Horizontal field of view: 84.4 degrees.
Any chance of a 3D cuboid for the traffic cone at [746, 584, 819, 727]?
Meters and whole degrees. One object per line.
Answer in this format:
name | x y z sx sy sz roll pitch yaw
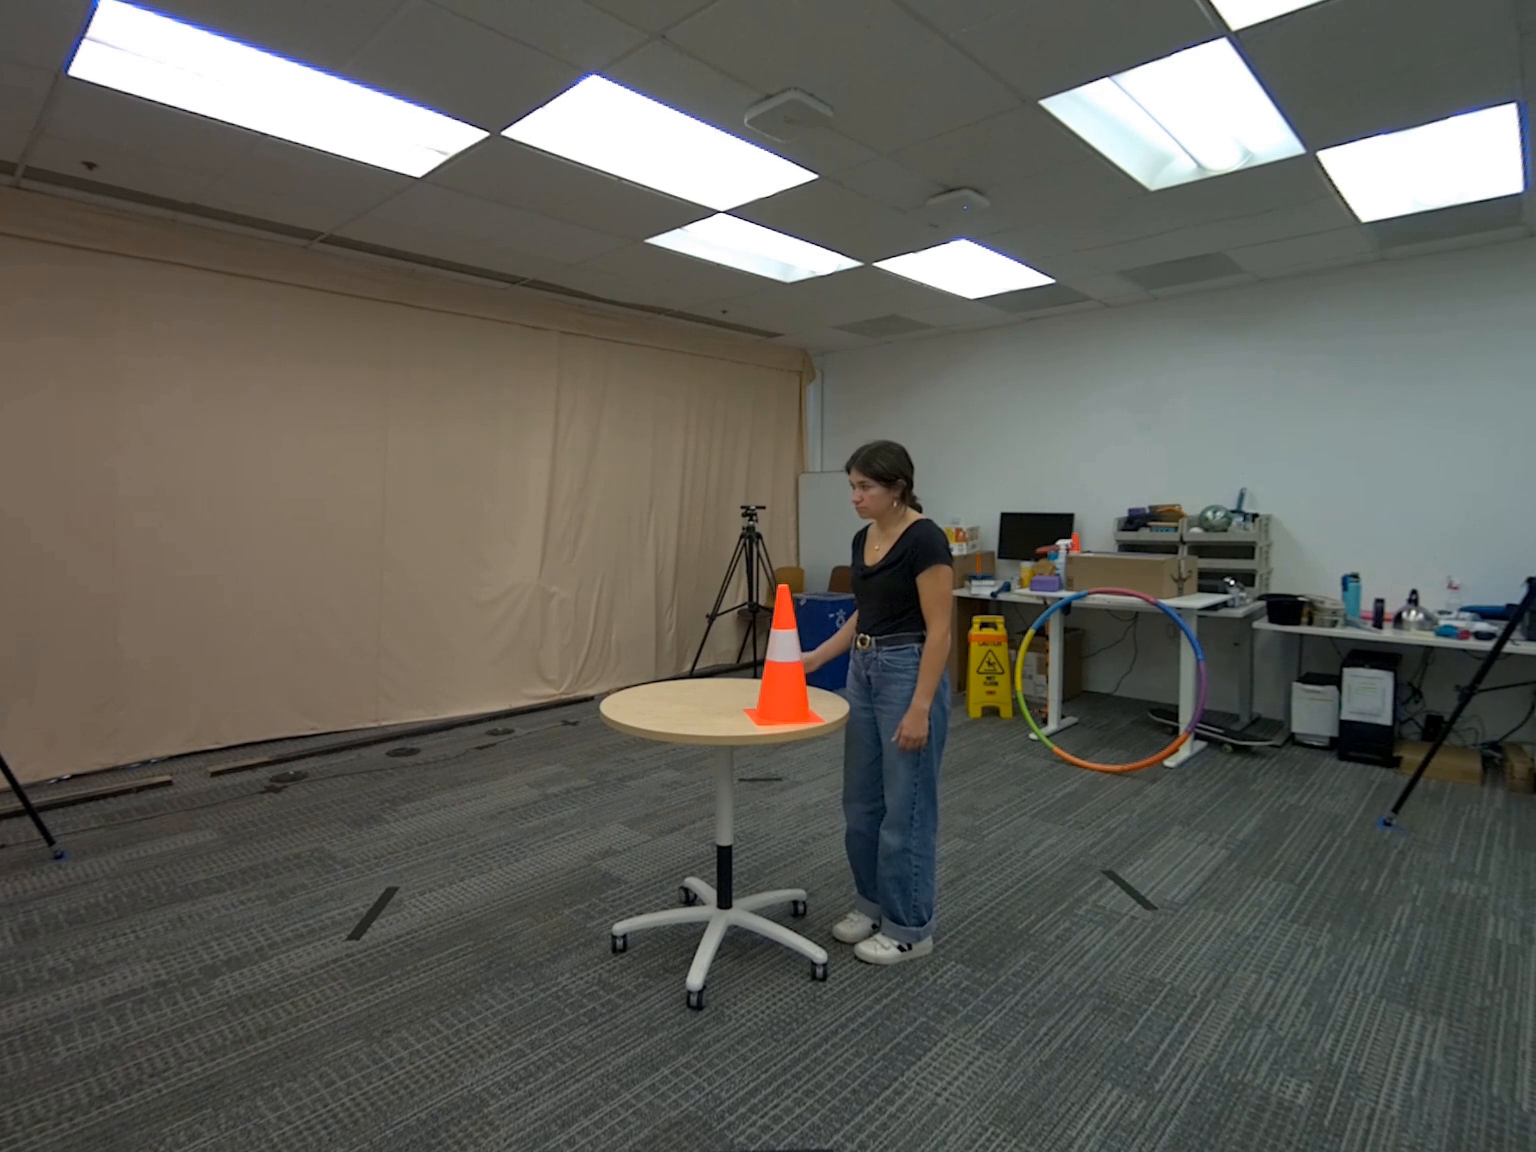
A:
traffic cone | 0.065 0.224 2.427 0.201 0.383 0.207 0 4 -10
